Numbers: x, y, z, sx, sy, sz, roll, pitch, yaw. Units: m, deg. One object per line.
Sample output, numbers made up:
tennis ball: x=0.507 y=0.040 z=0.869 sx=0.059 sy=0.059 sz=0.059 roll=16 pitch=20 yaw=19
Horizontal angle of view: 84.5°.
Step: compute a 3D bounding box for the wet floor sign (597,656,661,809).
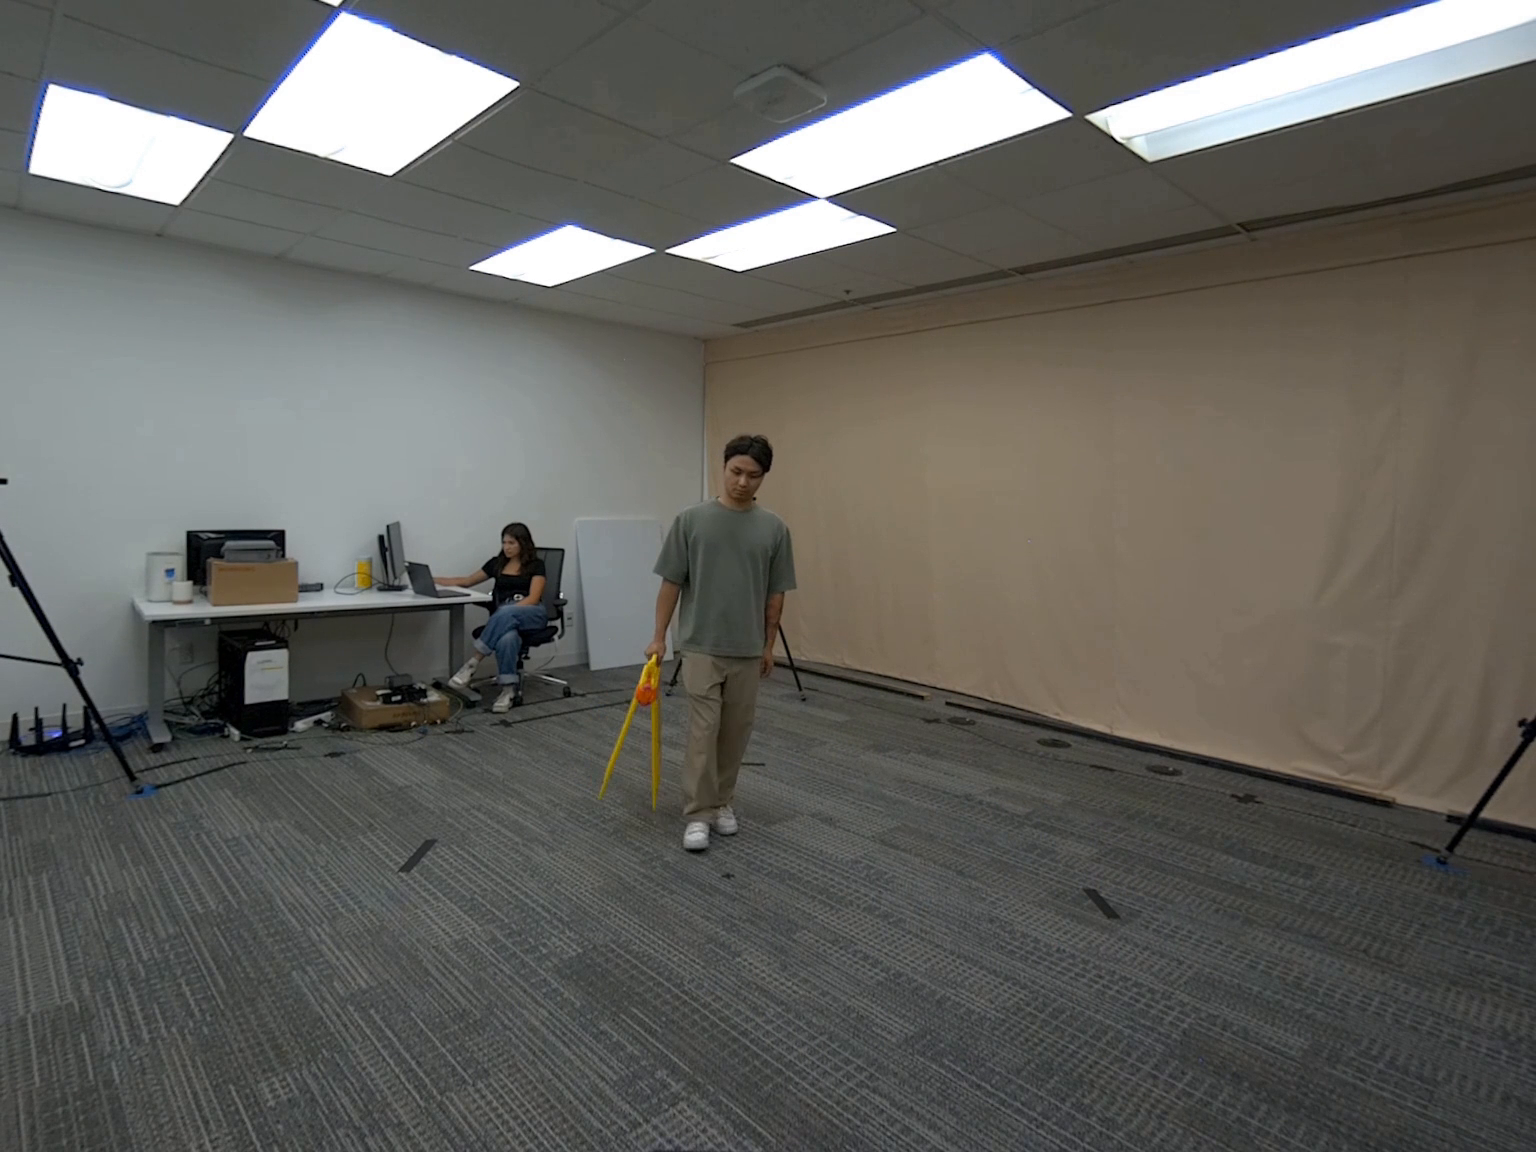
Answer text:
wet floor sign: x=-0.529 y=0.619 z=3.556 sx=0.289 sy=0.640 sz=0.285 roll=10 pitch=15 yaw=-2
